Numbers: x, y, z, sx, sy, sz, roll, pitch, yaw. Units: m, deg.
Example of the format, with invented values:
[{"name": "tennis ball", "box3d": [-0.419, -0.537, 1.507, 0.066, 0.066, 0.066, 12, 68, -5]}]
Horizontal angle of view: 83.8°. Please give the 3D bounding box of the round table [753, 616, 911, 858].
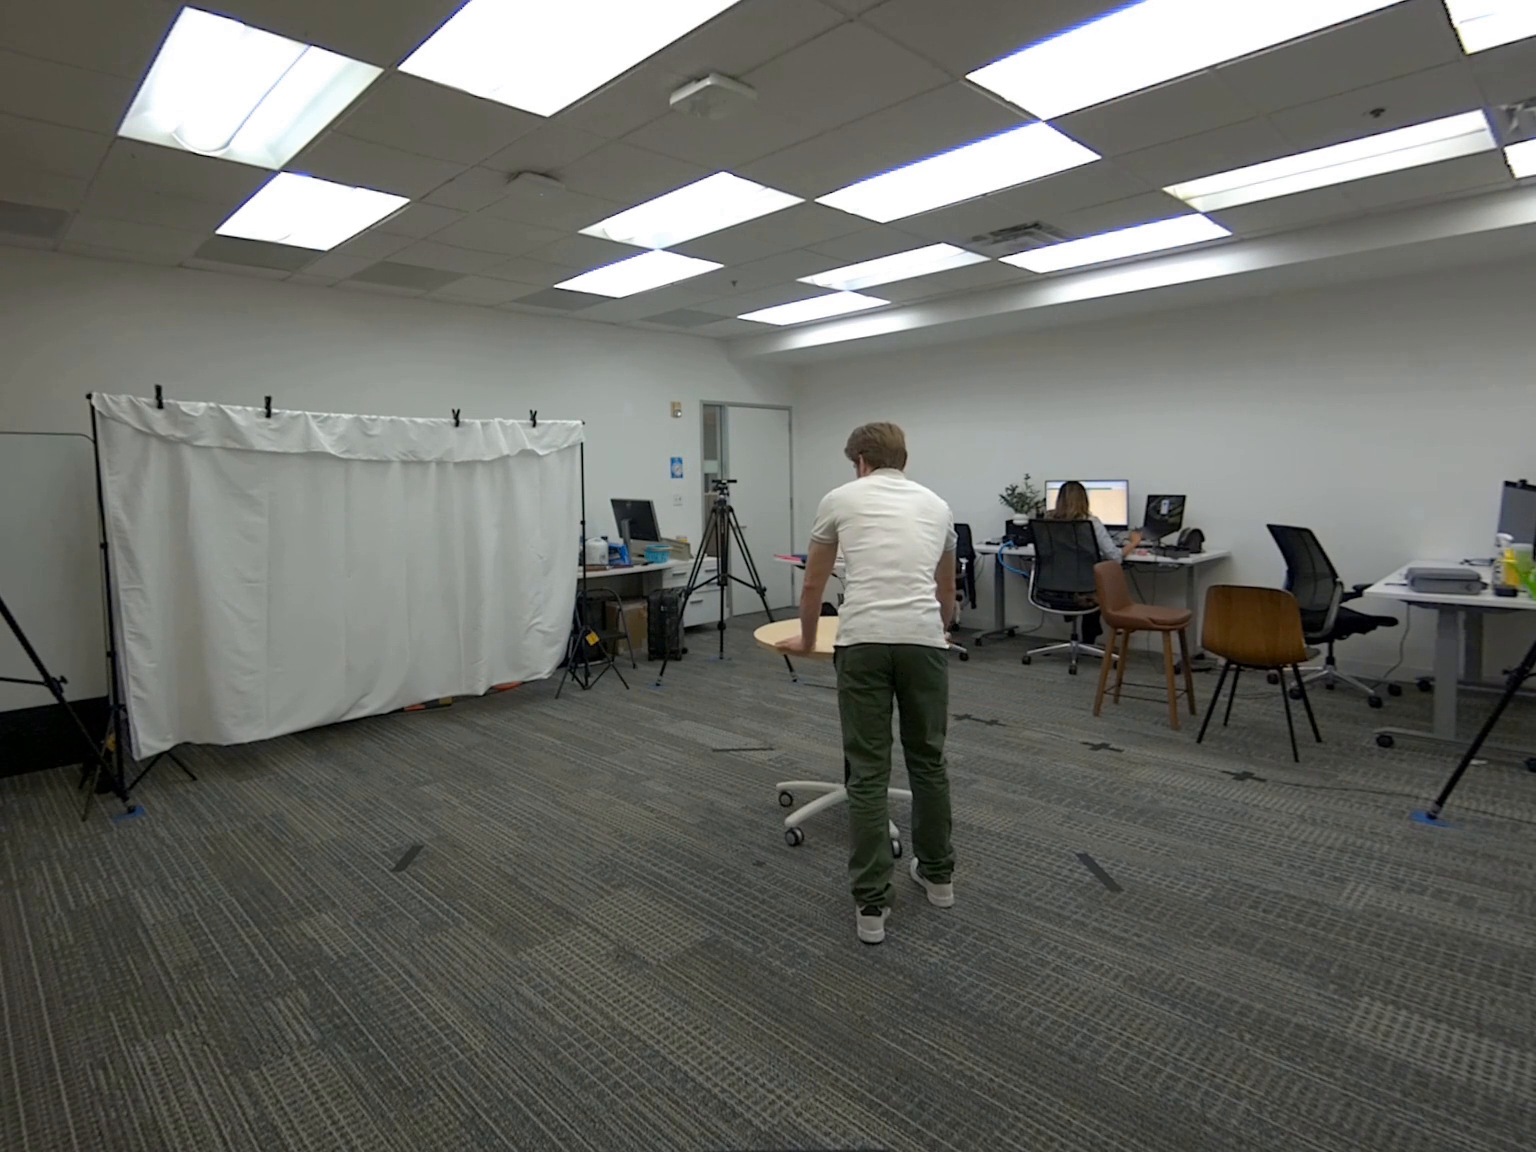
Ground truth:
[{"name": "round table", "box3d": [0.336, 0.618, 3.464, 0.763, 0.791, 0.768, -1, 5, -2]}]
